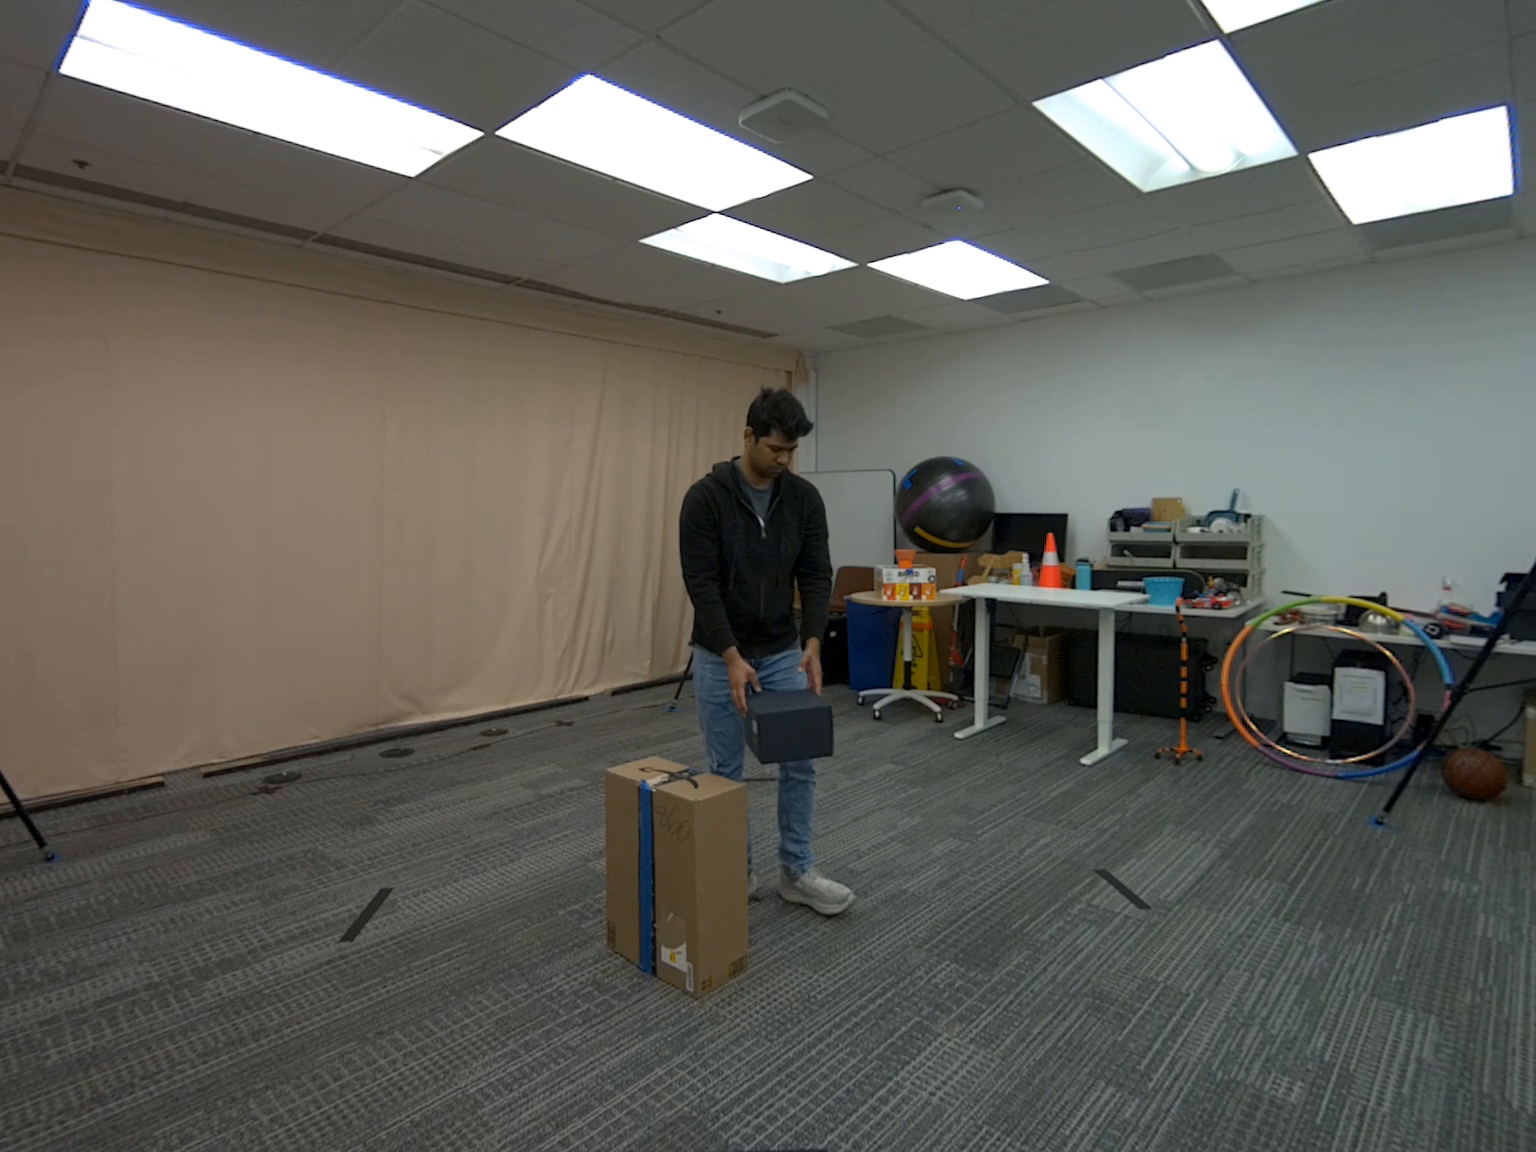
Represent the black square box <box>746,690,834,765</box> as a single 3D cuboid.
[{"bbox_3d":[0.050,0.459,2.592,0.225,0.155,0.220,-4,6,-13],"label":"black square box"}]
